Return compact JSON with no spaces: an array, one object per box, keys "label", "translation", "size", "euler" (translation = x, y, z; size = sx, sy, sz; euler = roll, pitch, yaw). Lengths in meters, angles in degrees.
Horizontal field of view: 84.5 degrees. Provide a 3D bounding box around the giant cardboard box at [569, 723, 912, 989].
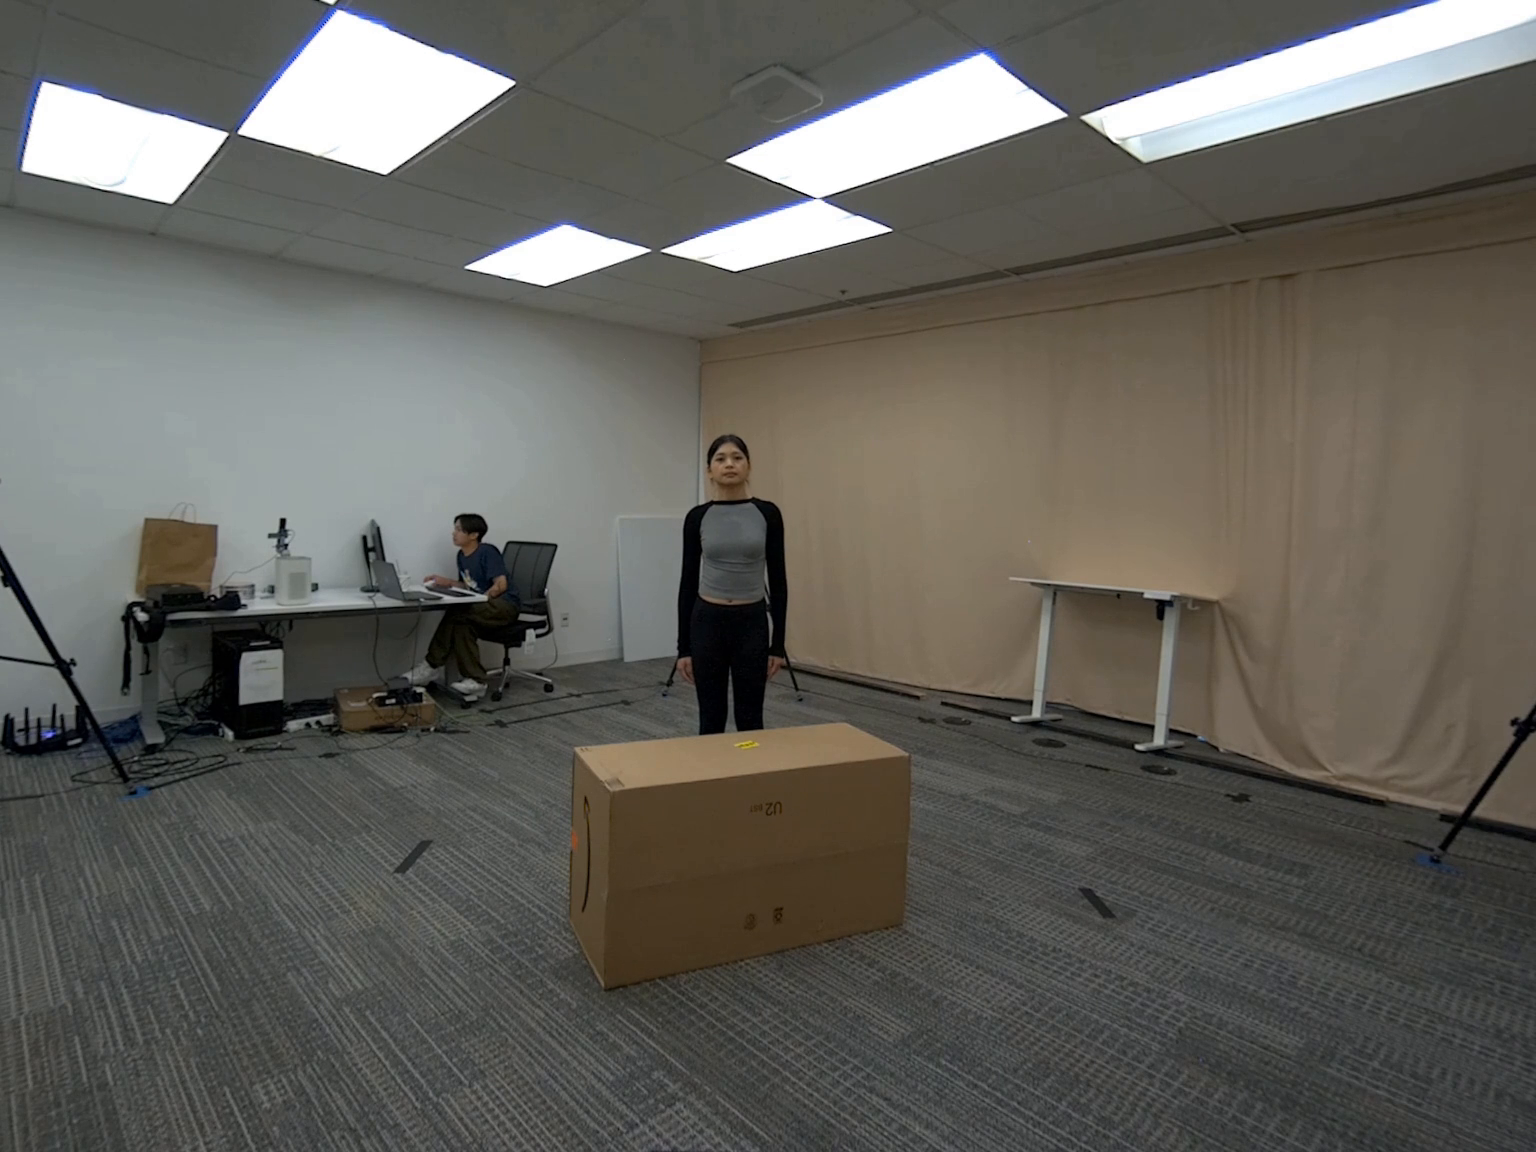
[{"label":"giant cardboard box","translation":[-0.092,0.853,2.746],"size":[1.007,0.576,0.435],"euler":[-1,4,-25]}]
